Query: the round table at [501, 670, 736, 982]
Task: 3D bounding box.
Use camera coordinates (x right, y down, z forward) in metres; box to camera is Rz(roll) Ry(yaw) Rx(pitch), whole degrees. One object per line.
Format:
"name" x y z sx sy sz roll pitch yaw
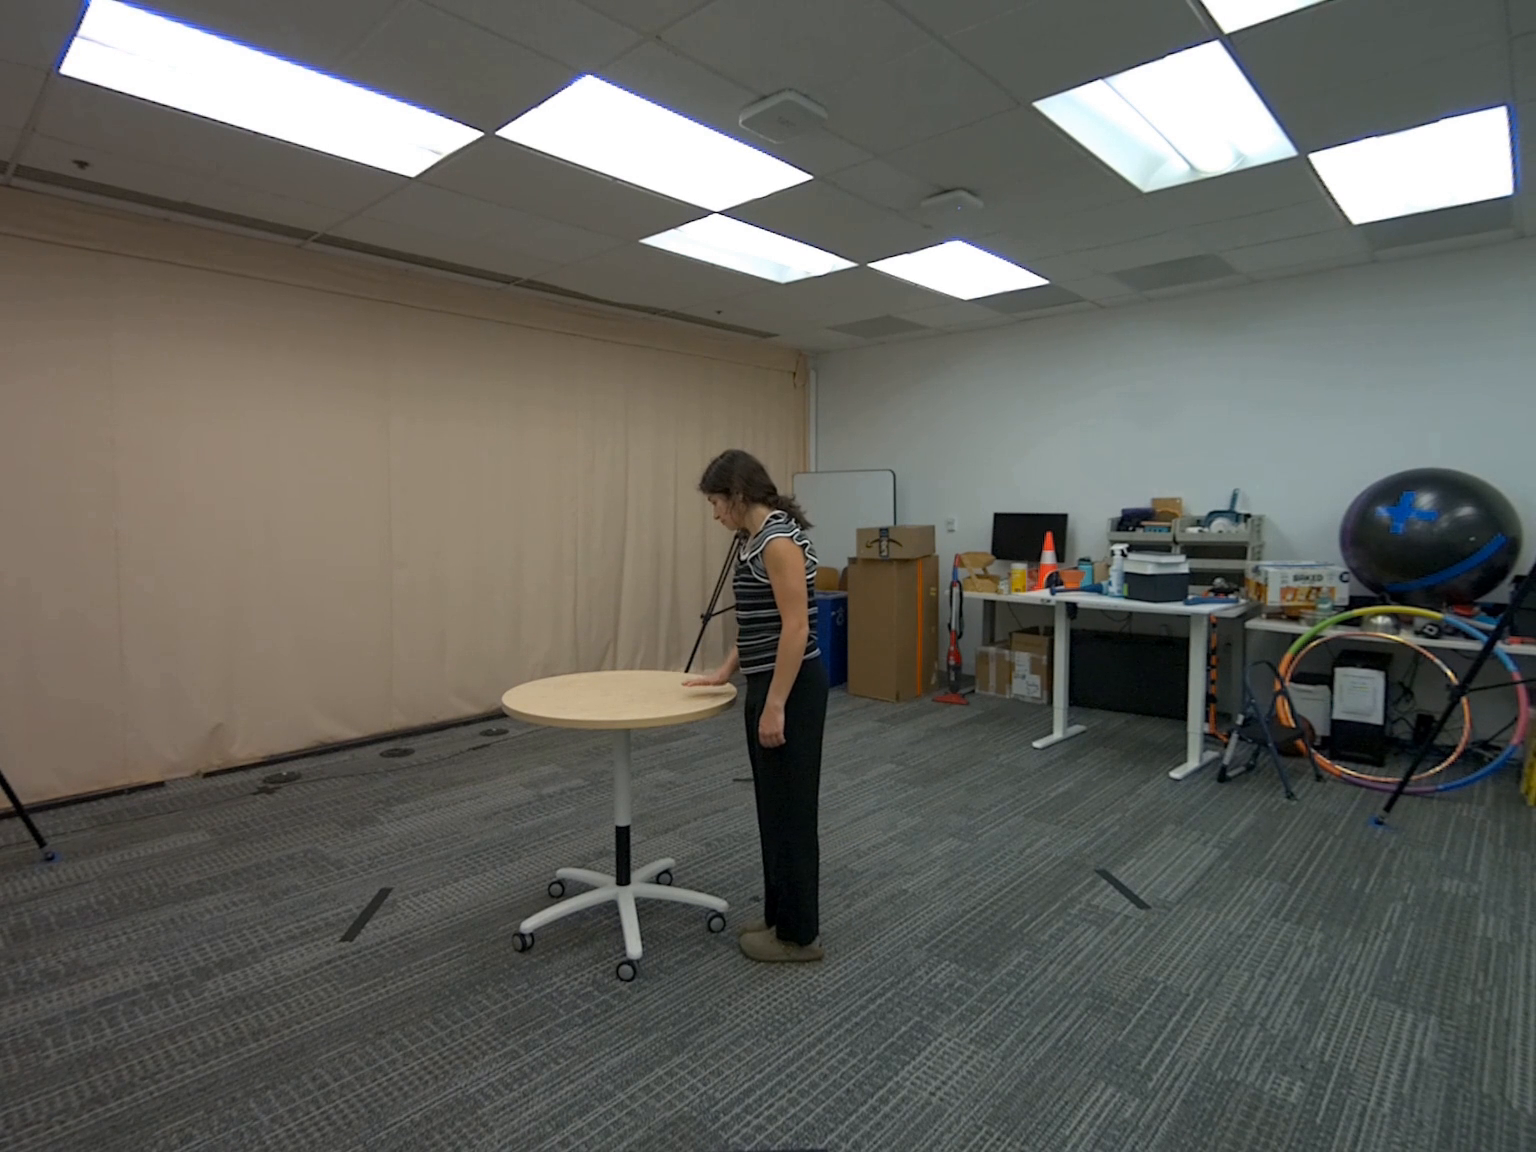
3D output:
"round table" -0.487 0.778 2.790 0.763 0.792 0.766 -1 3 -2
